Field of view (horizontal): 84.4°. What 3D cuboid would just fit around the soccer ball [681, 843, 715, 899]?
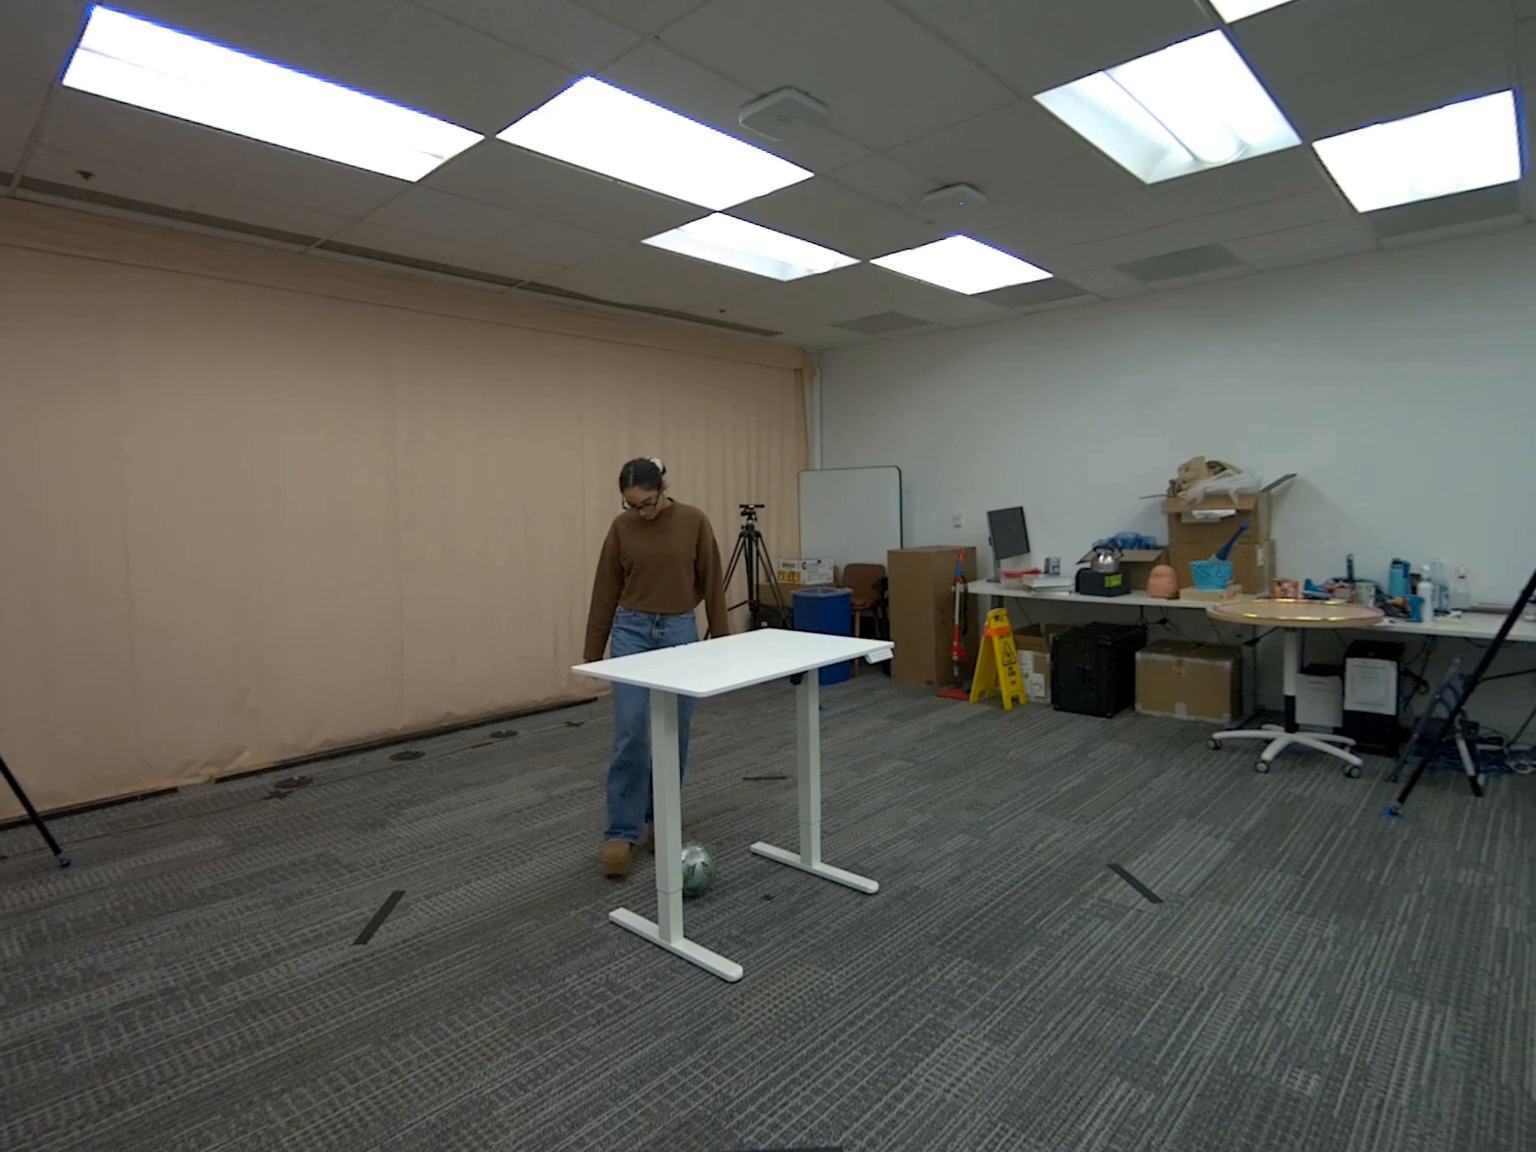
[{"bbox_3d":[-0.279,1.050,3.018,0.187,0.187,0.188,-1,4,-2],"label":"soccer ball"}]
